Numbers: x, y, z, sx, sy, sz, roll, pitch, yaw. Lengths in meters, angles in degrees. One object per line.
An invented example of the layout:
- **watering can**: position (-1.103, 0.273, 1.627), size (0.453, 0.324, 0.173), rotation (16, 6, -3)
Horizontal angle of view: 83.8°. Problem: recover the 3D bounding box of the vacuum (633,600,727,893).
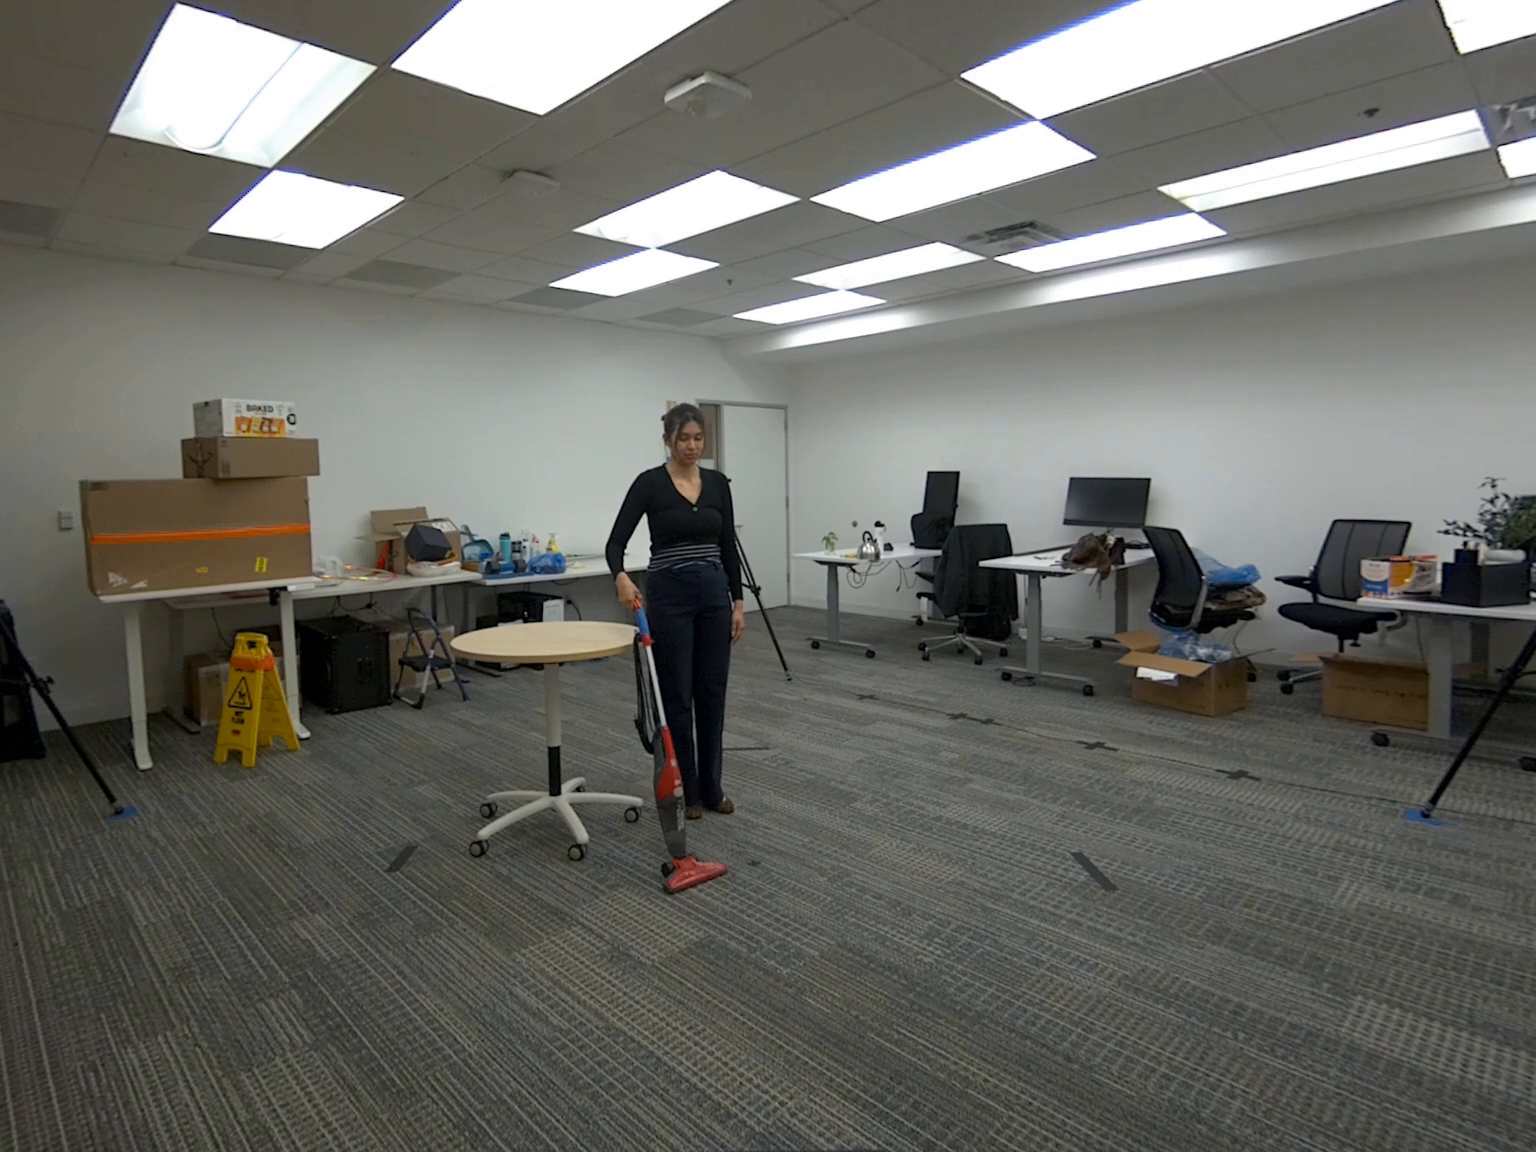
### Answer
- **vacuum**: position (-0.404, 0.567, 3.126), size (0.246, 1.066, 0.145), rotation (-3, -18, -38)
